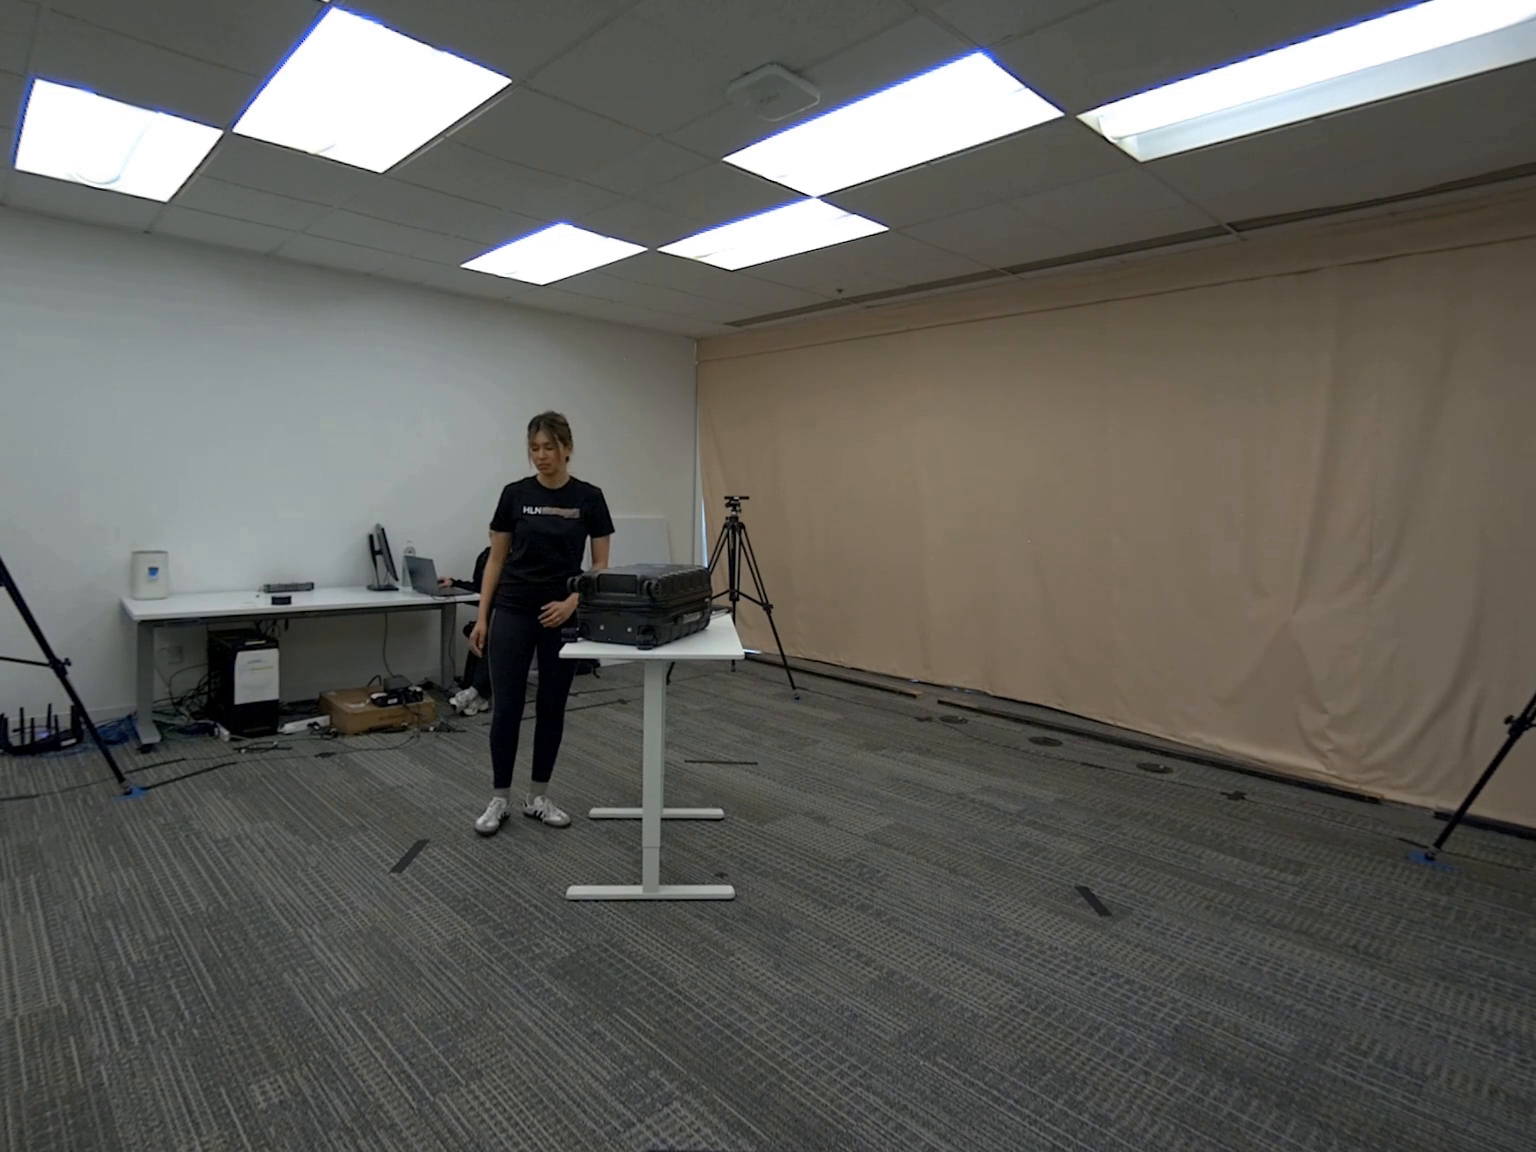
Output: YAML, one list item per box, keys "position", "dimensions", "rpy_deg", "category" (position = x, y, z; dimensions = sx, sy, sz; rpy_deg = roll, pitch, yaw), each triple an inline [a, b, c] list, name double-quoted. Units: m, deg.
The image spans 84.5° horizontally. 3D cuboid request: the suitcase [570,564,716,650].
- position: [-0.379, 0.078, 3.261]
  dimensions: [0.390, 0.256, 0.967]
  rpy_deg: [0, 6, 19]
  category: "suitcase"
